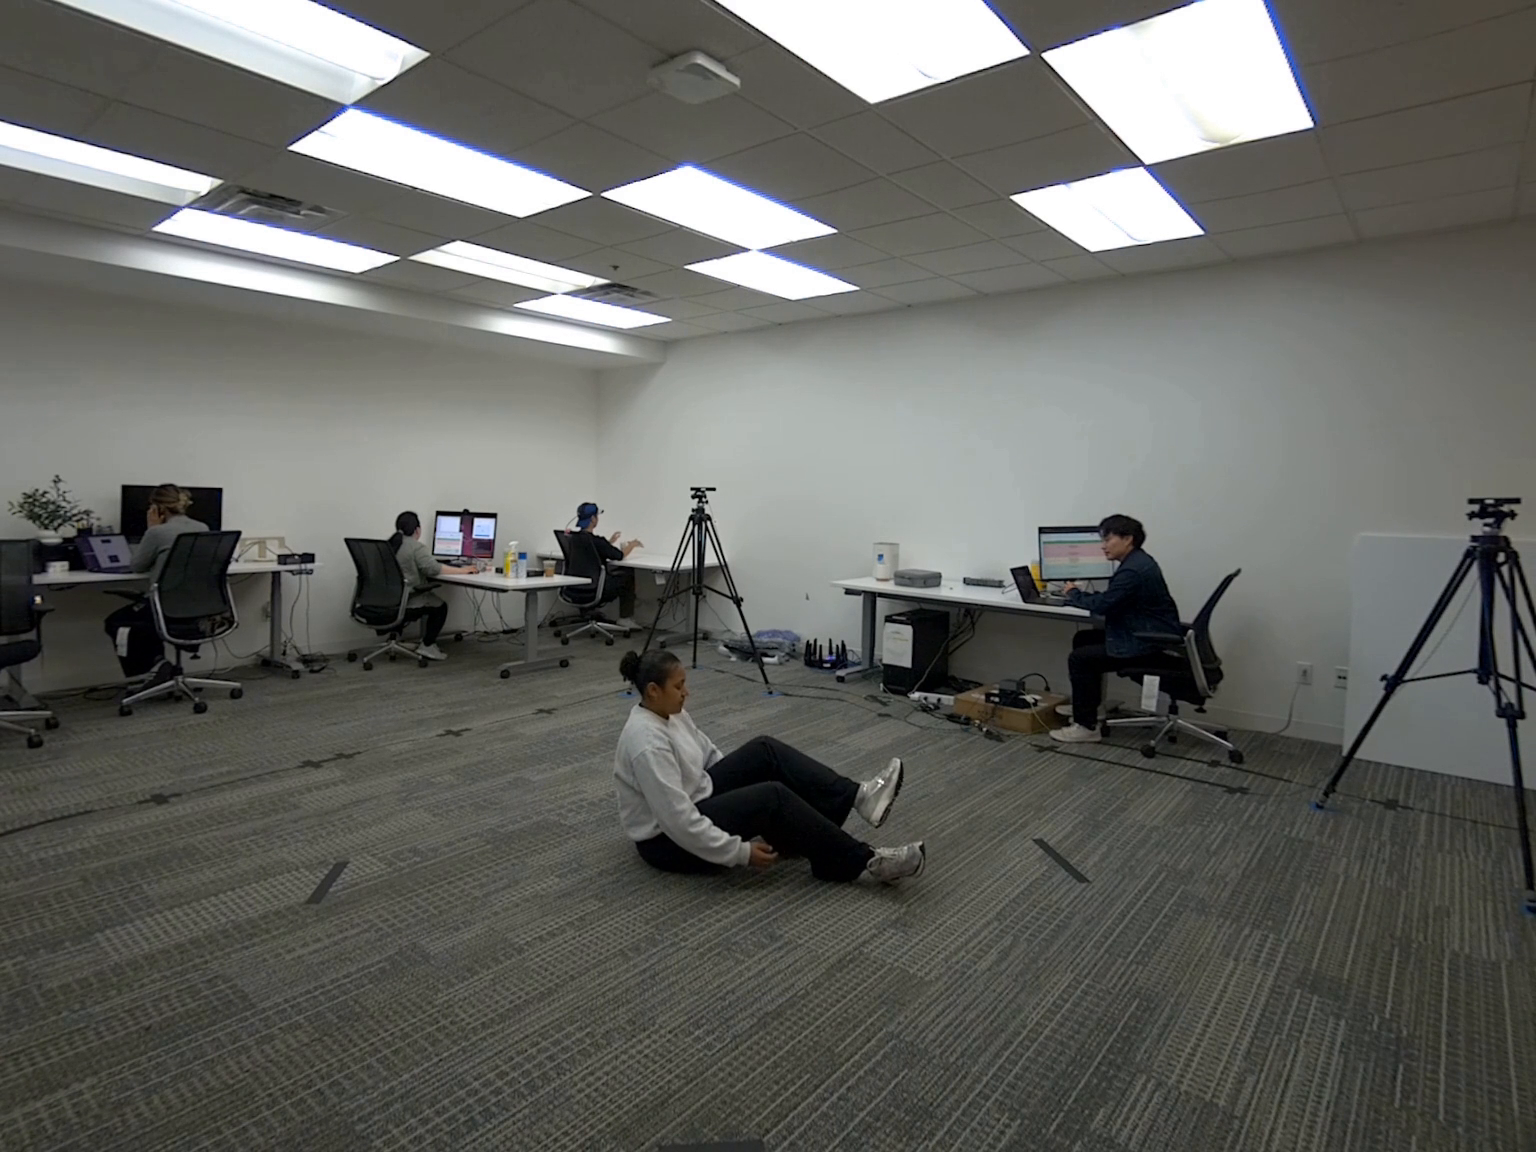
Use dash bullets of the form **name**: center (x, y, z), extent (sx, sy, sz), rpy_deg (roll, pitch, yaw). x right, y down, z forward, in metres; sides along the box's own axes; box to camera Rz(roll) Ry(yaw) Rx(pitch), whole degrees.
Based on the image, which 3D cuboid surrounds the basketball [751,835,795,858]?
- **basketball**: center (0.062, 0.931, 3.279), extent (0.235, 0.235, 0.237), rpy_deg (1, 4, -2)
